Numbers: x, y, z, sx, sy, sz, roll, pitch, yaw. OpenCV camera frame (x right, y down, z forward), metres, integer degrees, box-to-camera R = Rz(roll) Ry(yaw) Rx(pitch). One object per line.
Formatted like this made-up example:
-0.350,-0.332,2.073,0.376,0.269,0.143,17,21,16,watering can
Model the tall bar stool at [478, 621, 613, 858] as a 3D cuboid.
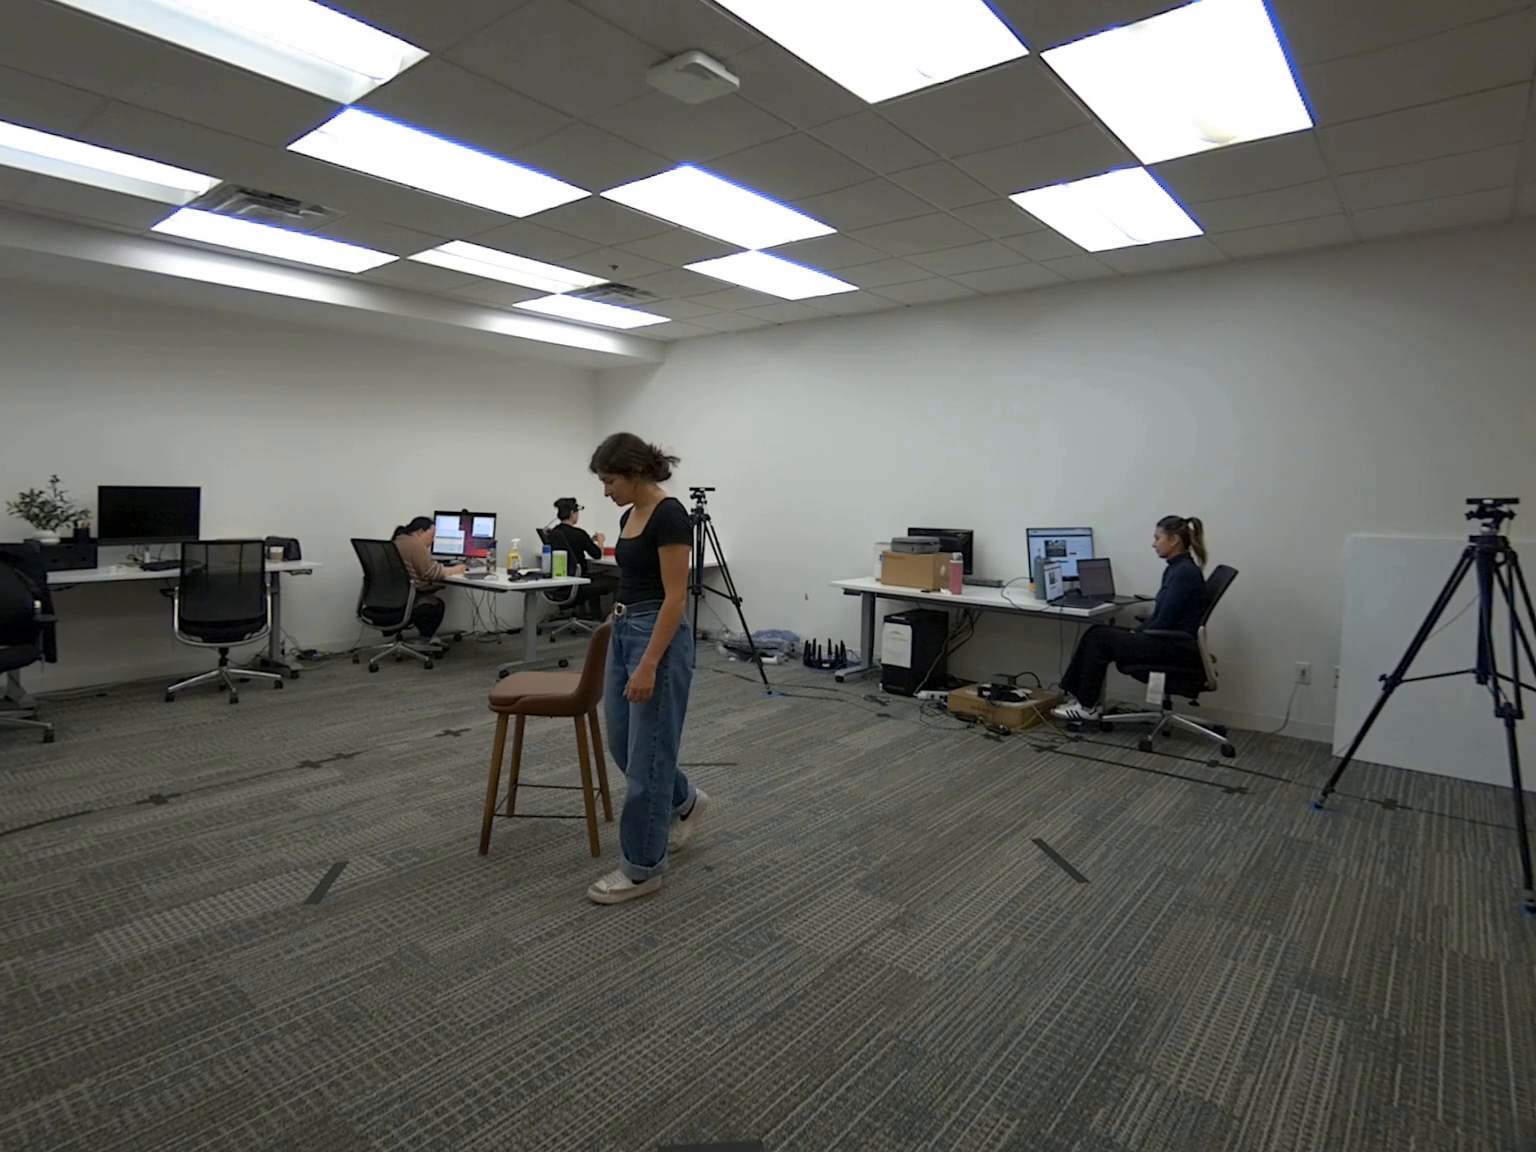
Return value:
-0.868,0.595,3.363,0.468,0.888,0.457,3,3,0,tall bar stool
